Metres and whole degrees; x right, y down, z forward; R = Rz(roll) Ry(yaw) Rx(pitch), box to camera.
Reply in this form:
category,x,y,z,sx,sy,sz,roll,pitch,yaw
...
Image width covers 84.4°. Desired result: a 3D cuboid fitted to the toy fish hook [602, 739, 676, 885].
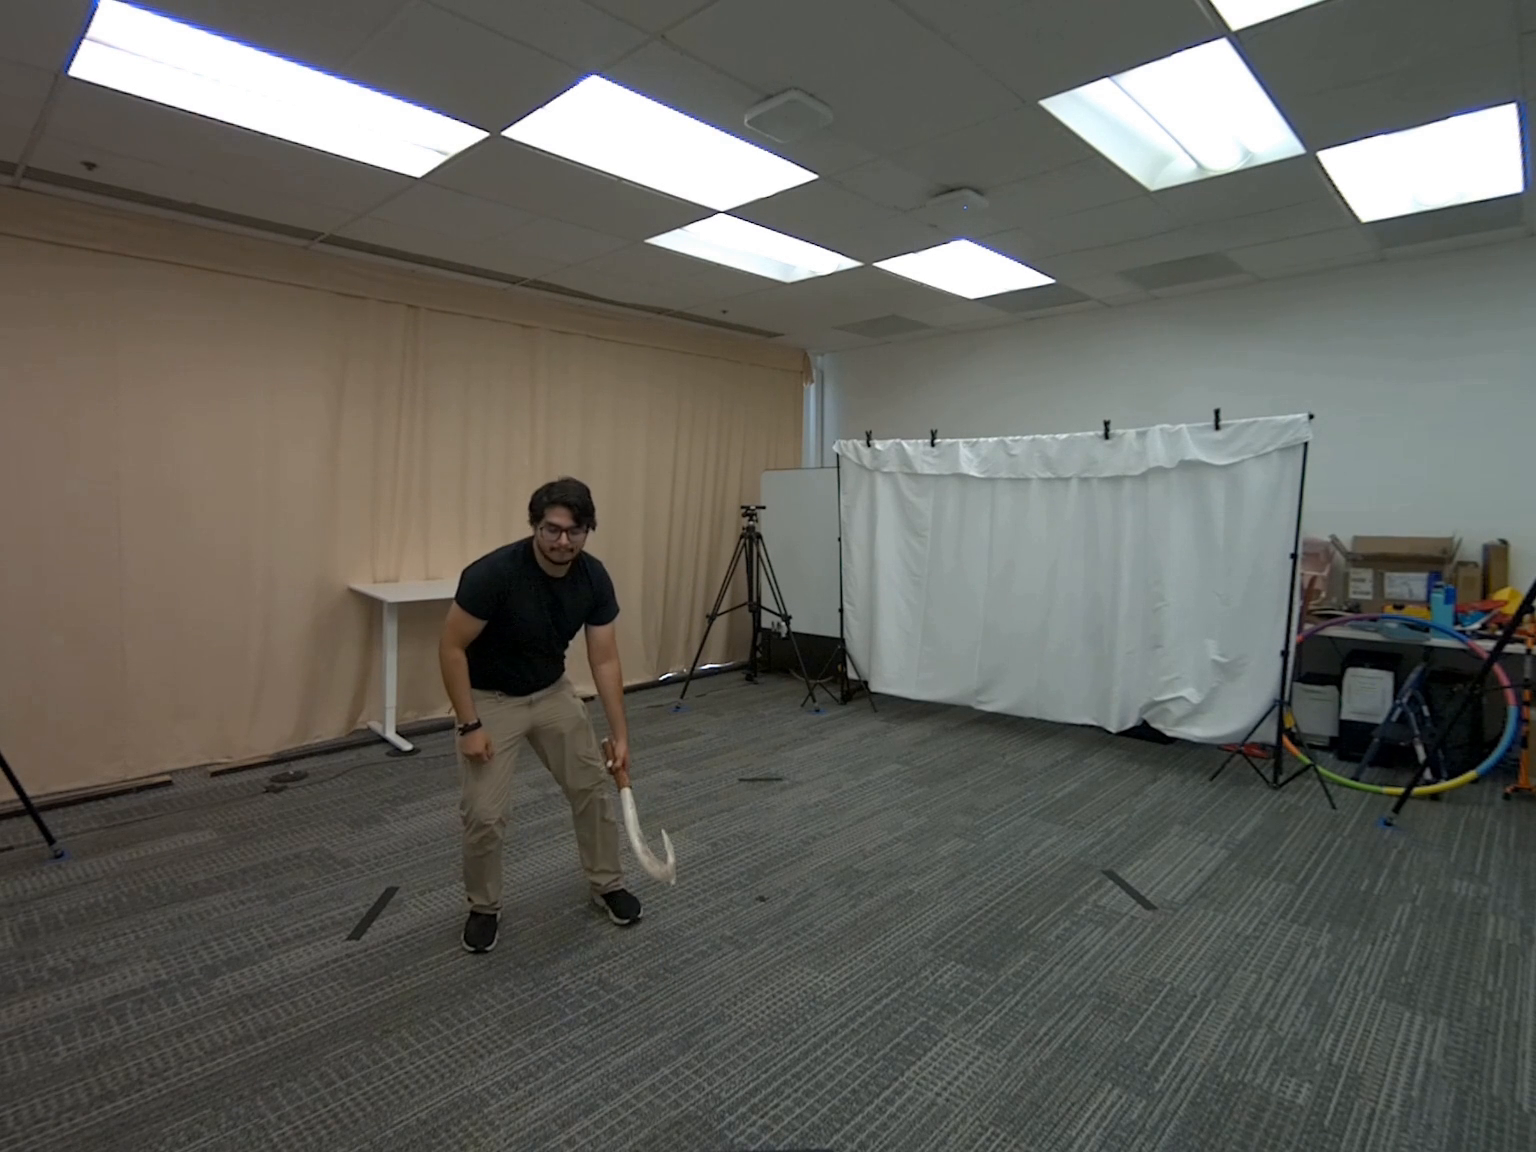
category,x,y,z,sx,sy,sz,roll,pitch,yaw
toy fish hook,-0.401,0.738,2.639,0.048,0.523,0.217,-34,-40,3
